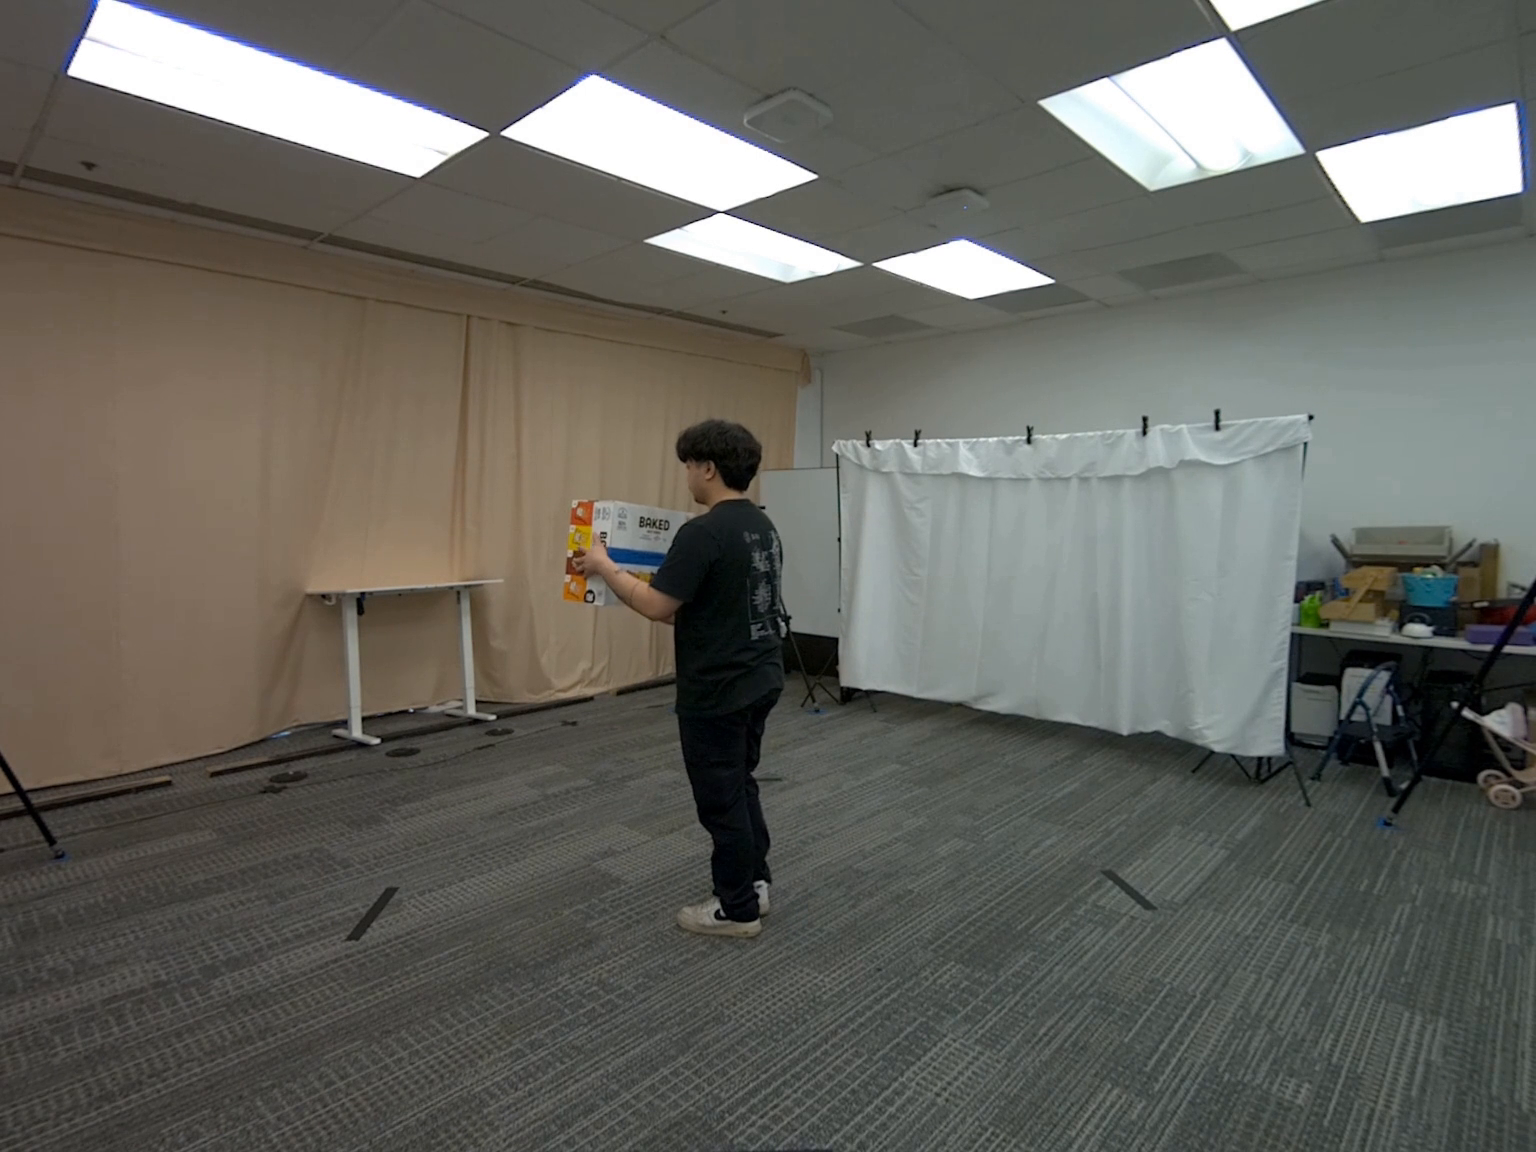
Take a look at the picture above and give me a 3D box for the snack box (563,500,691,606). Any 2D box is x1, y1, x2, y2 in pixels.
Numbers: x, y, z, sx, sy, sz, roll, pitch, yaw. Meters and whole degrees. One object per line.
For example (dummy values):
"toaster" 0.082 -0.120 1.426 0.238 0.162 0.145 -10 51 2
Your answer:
"snack box" -0.468 -0.068 2.936 0.212 0.340 0.392 5 -1 38
